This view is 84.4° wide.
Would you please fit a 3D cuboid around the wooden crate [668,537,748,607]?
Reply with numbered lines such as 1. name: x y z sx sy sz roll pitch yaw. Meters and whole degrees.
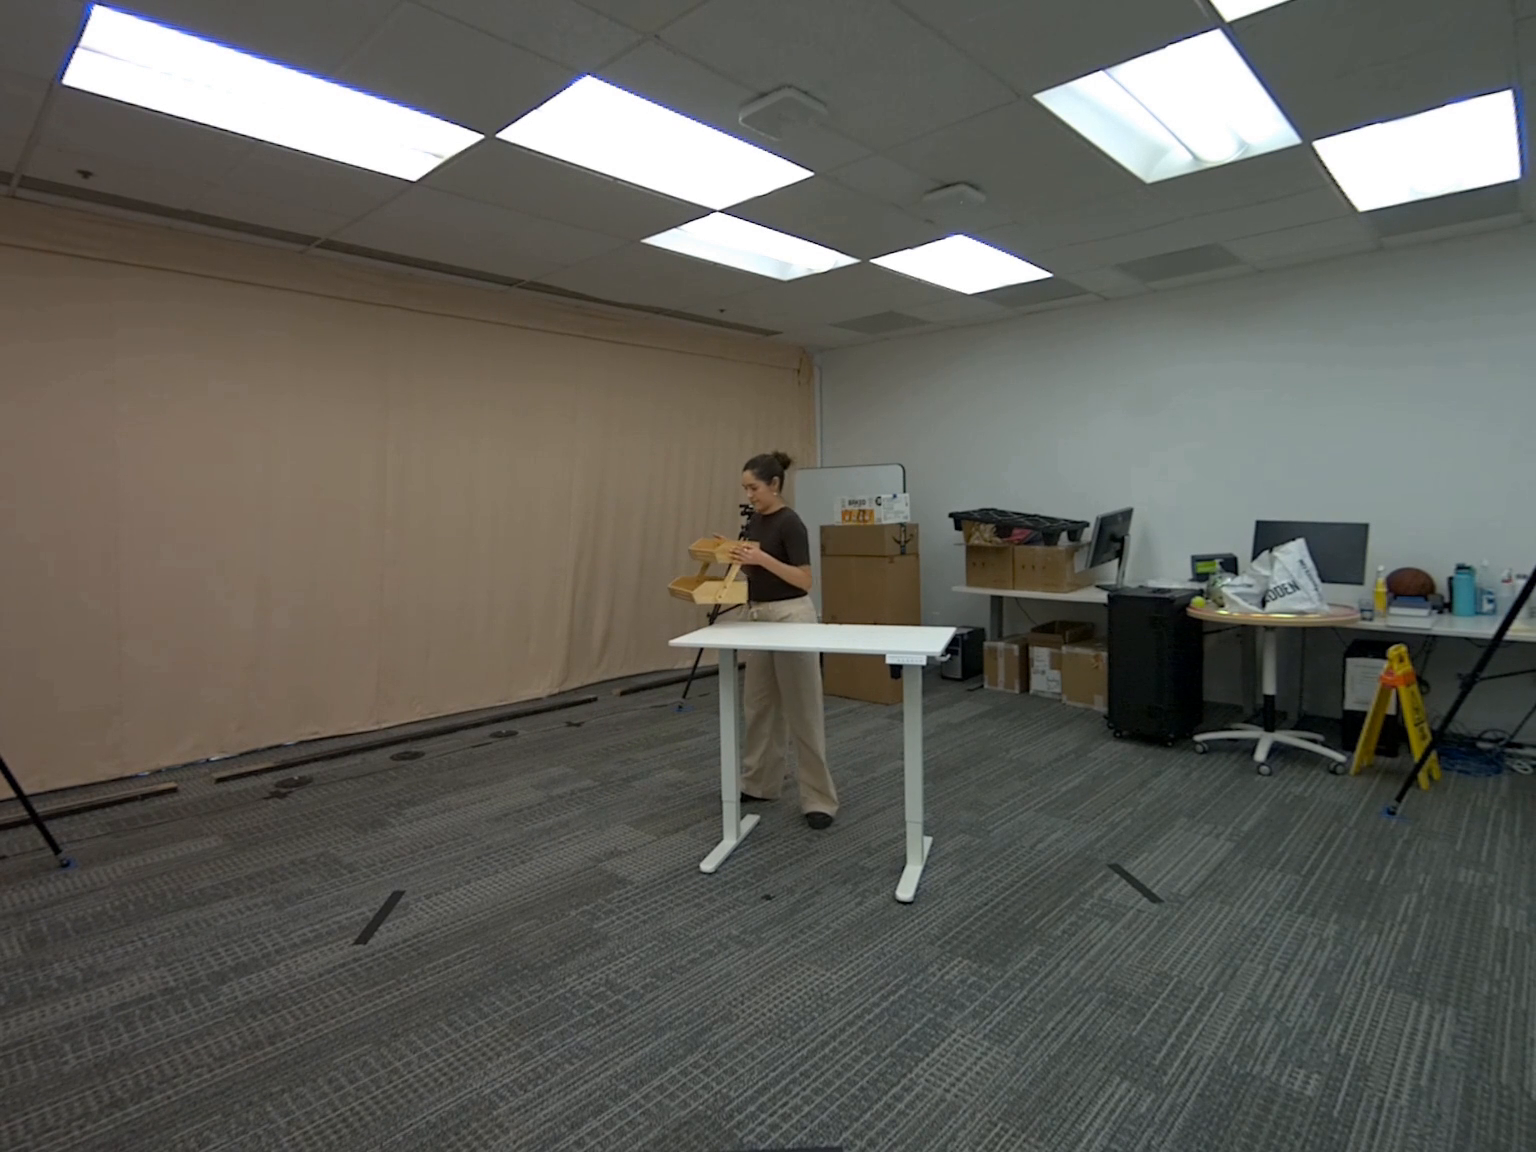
1. wooden crate: -0.237 -0.028 3.669 0.295 0.273 0.333 1 3 -26
